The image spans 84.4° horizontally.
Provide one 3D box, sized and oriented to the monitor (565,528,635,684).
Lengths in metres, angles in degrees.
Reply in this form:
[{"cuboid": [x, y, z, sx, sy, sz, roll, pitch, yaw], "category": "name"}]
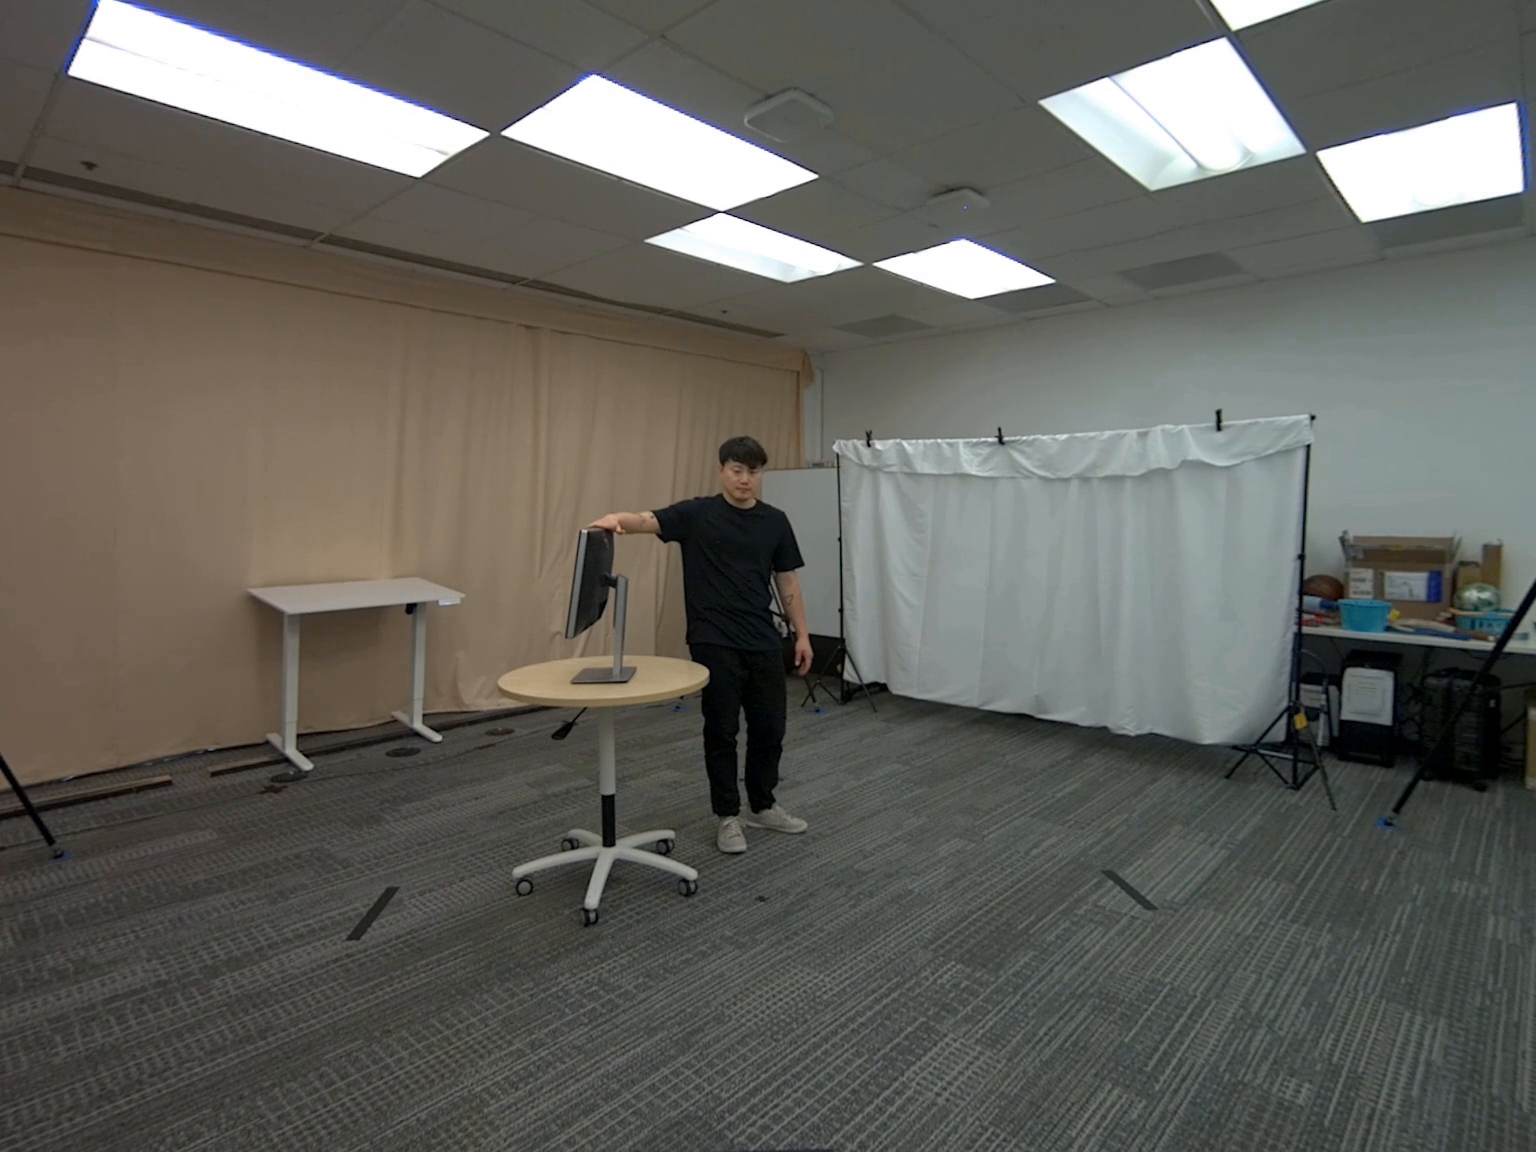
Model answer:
[{"cuboid": [-0.590, 0.105, 3.029, 0.187, 0.521, 0.541, -2, 4, -2], "category": "monitor"}]
